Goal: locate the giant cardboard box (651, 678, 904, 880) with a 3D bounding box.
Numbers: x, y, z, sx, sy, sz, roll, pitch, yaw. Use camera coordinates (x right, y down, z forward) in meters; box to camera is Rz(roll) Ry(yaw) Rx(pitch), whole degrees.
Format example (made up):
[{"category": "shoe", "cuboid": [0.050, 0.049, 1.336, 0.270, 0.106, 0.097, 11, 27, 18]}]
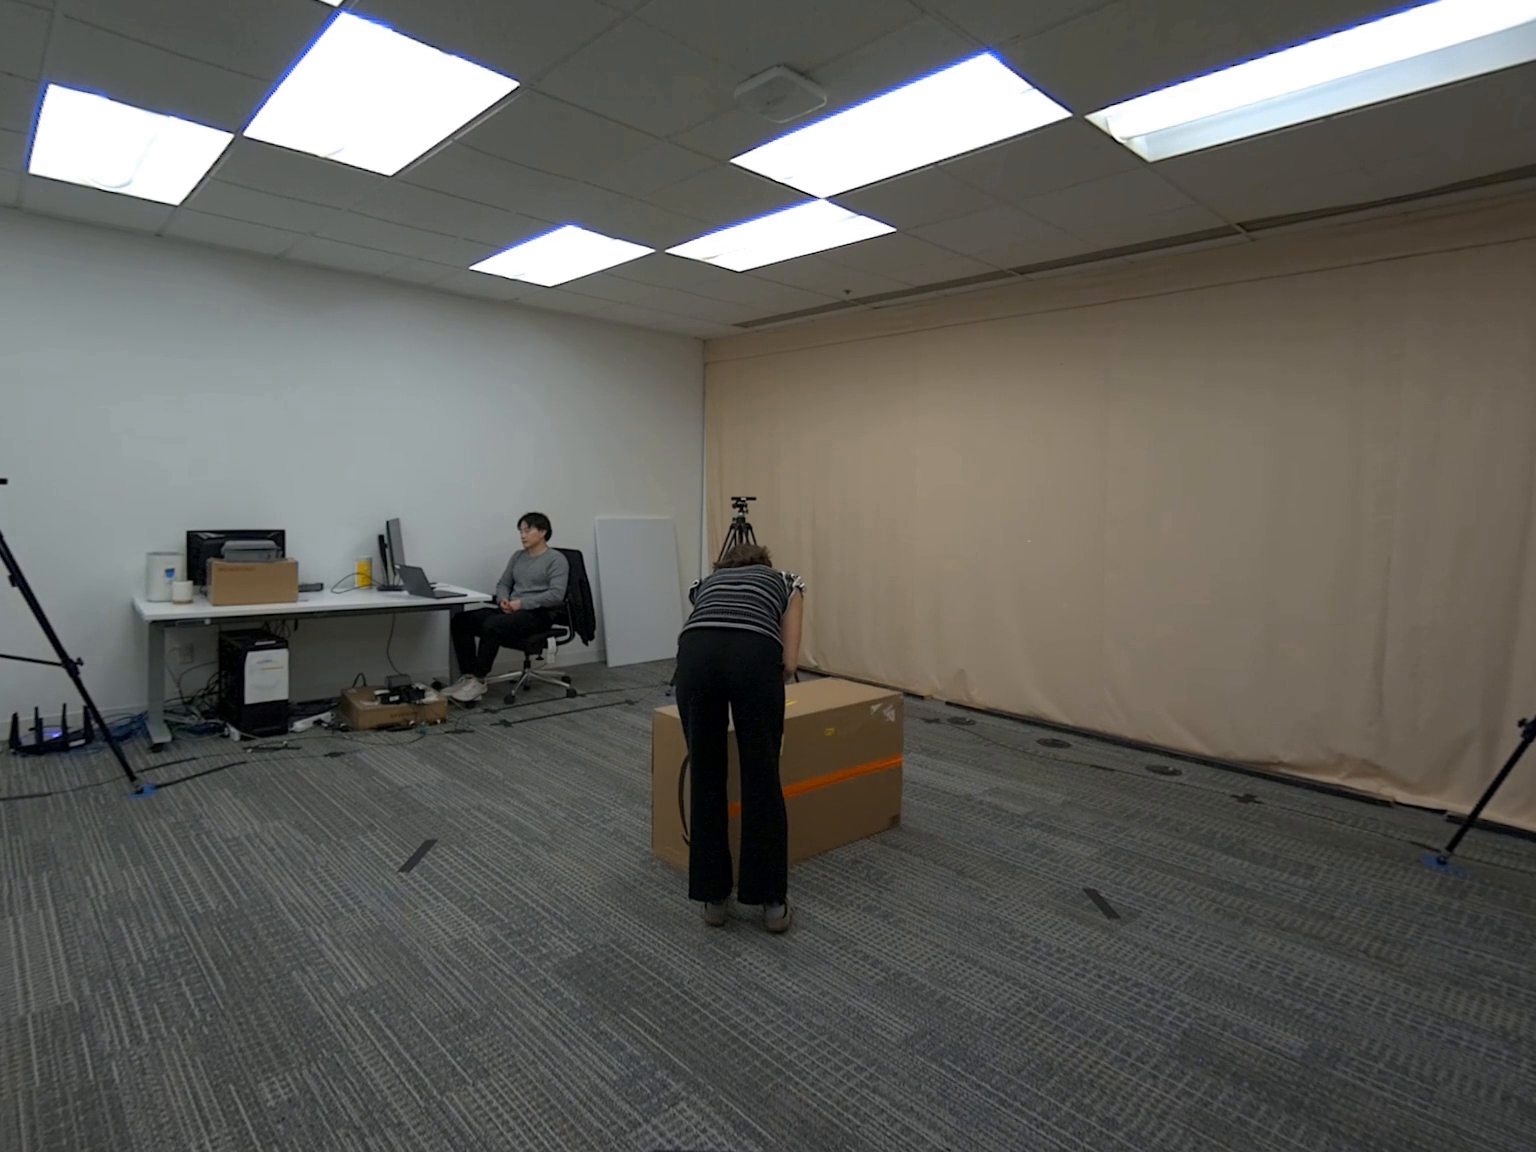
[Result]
[{"category": "giant cardboard box", "cuboid": [0.055, 0.791, 3.451, 1.003, 0.576, 0.437, -3, 6, -42]}]
